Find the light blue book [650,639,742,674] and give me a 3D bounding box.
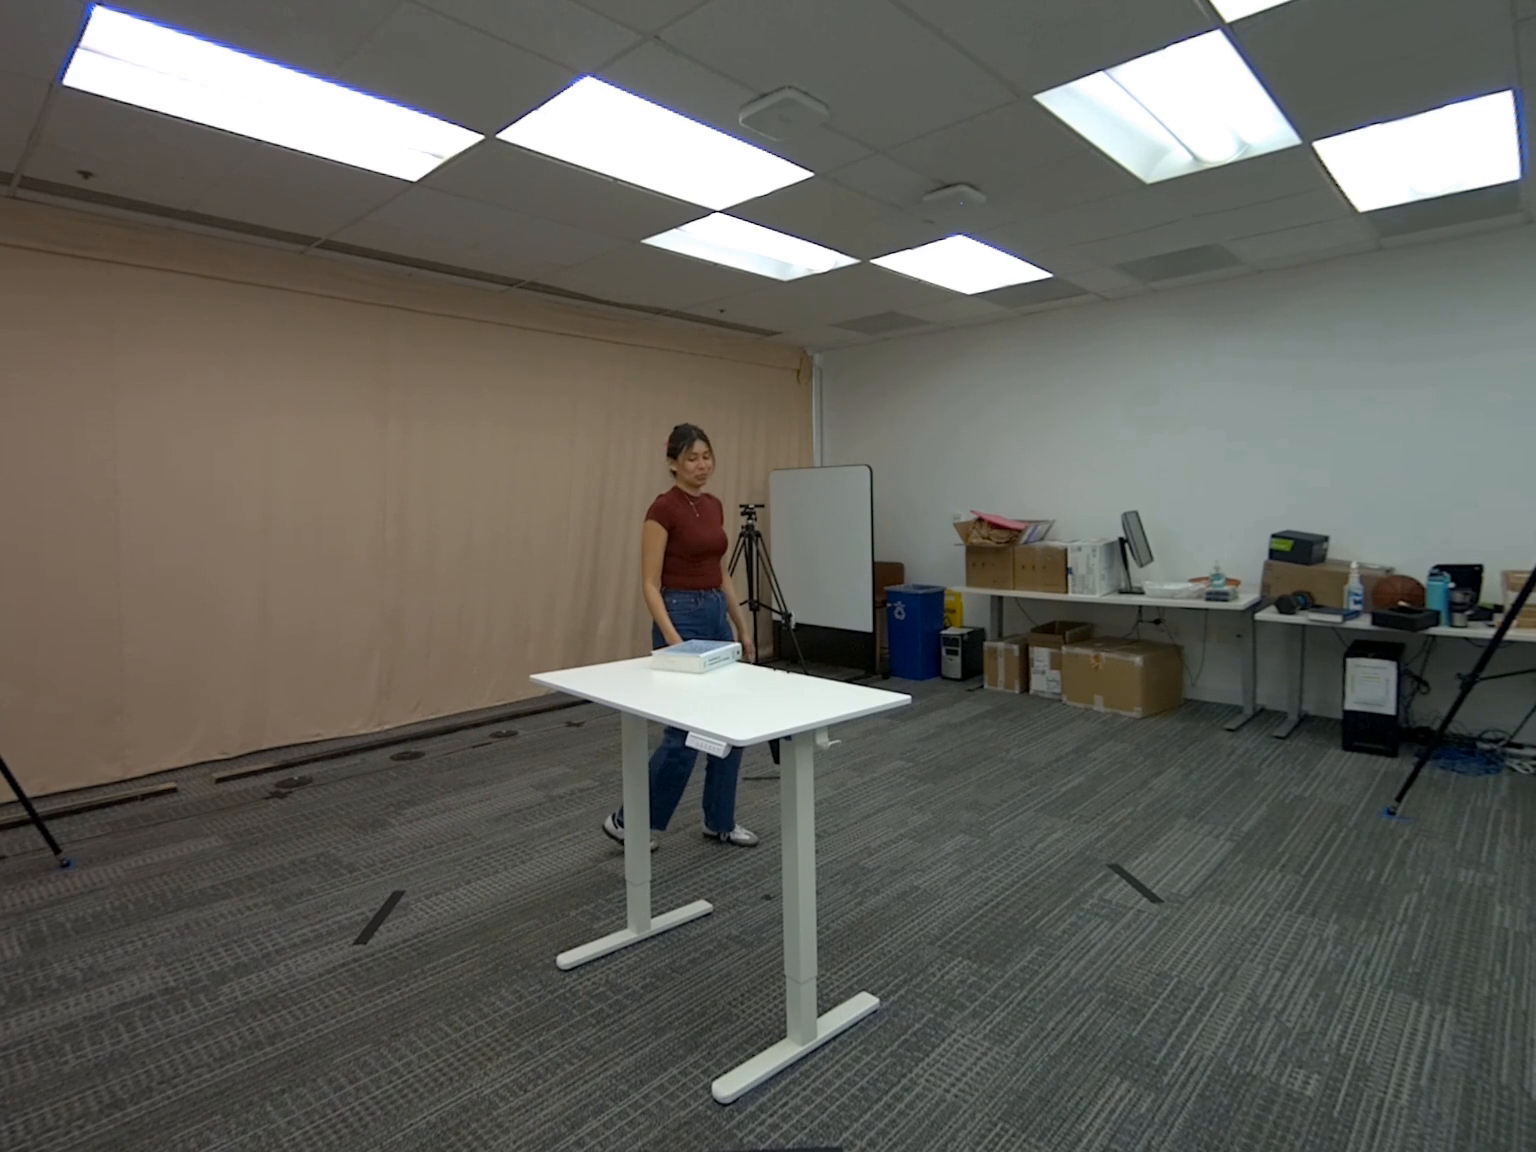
[{"bbox_3d":[-0.232,0.255,2.717,0.197,0.059,0.254,2,6,28],"label":"light blue book"}]
